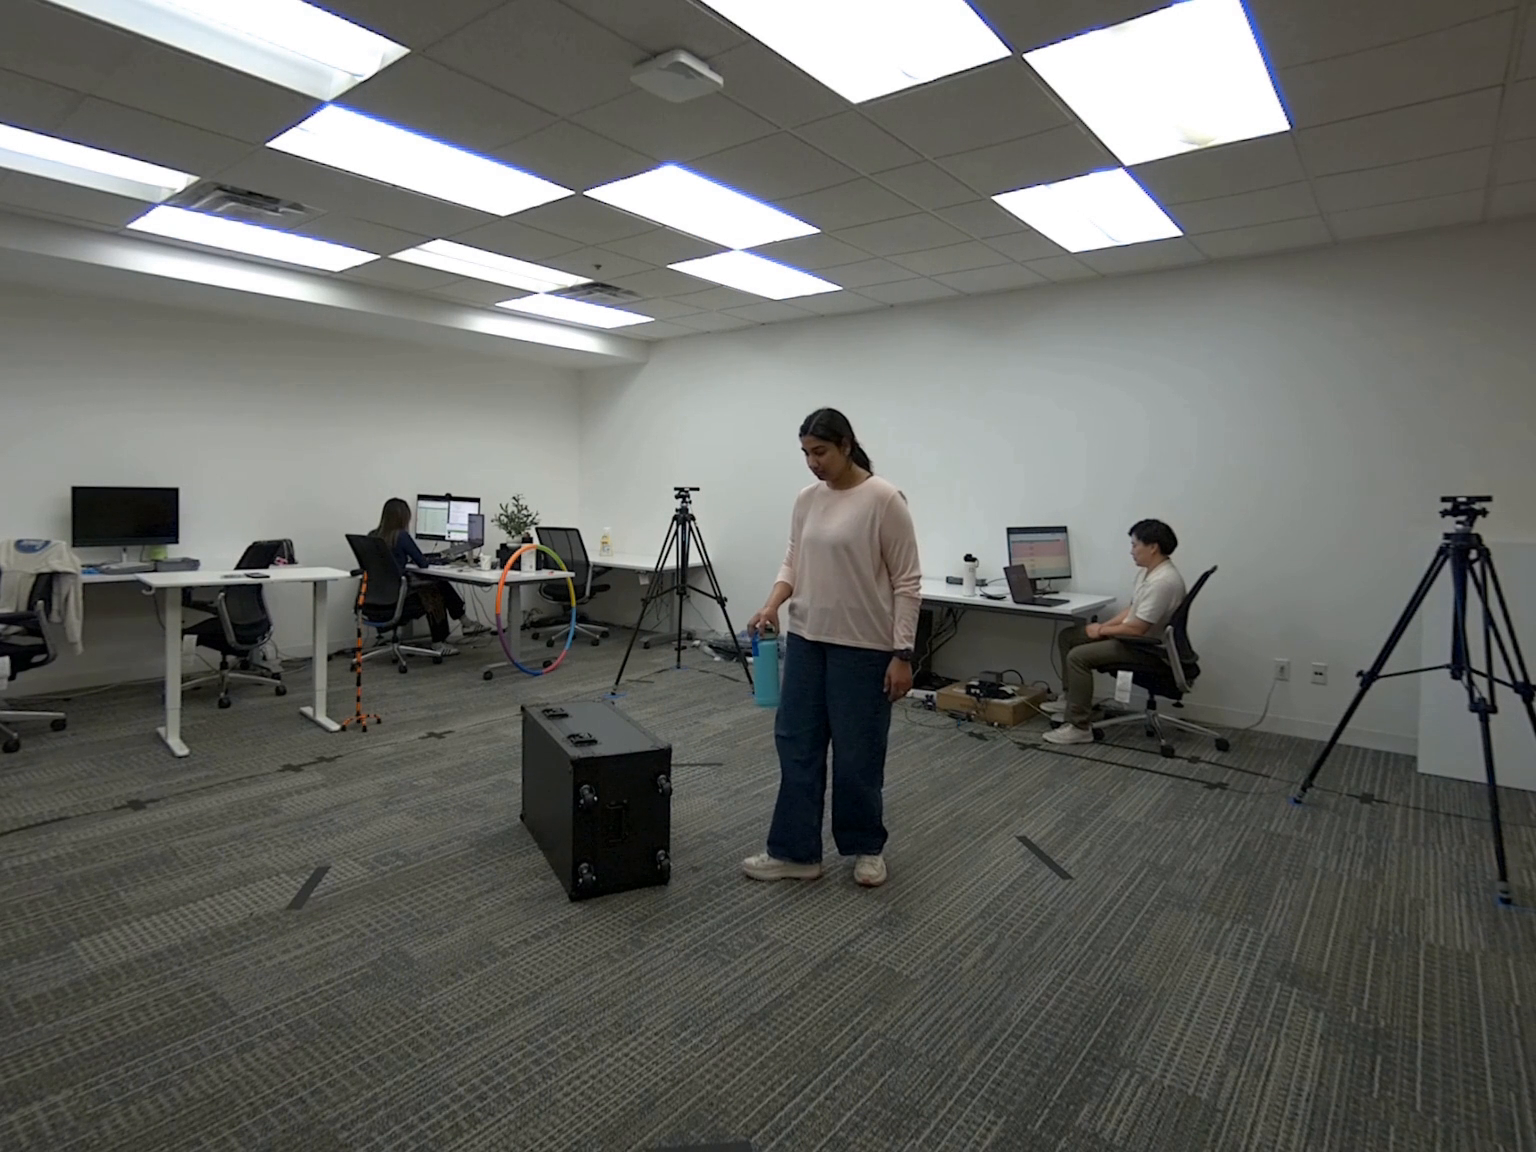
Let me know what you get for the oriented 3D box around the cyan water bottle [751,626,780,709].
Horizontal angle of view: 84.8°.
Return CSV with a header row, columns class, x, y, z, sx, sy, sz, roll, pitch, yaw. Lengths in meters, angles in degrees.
class,x,y,z,sx,sy,sz,roll,pitch,yaw
cyan water bottle,-0.012,0.305,2.979,0.092,0.283,0.092,-3,1,-2
